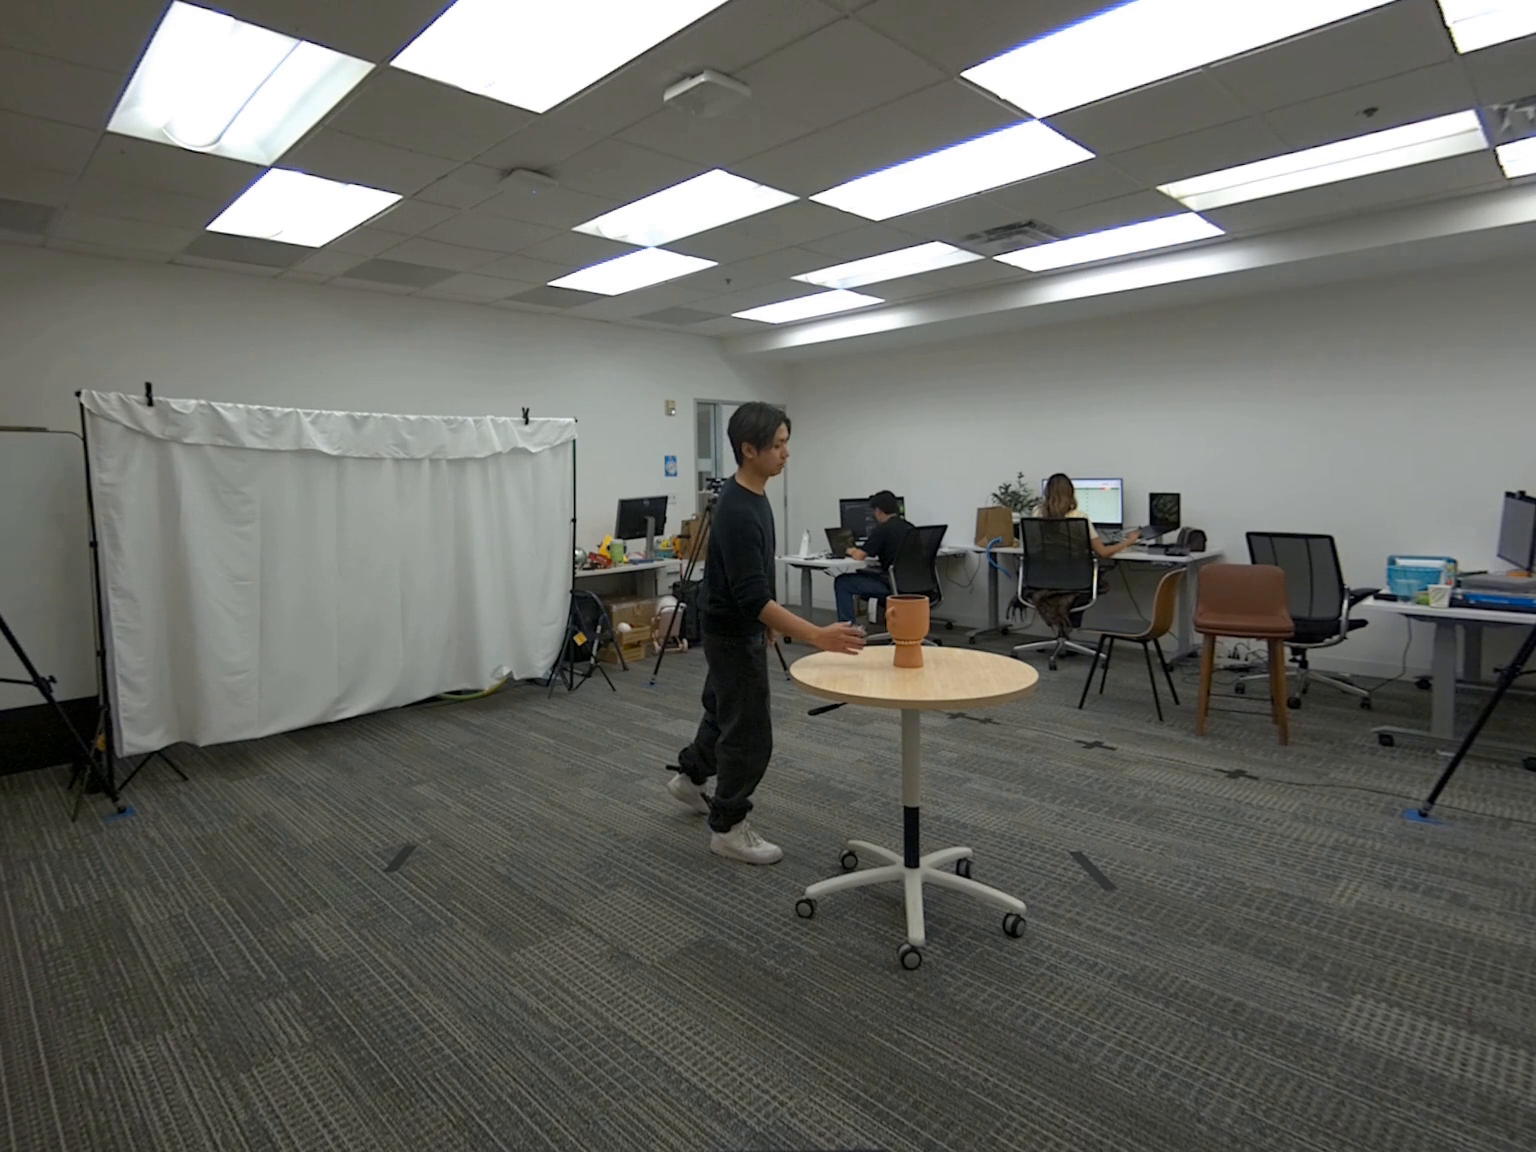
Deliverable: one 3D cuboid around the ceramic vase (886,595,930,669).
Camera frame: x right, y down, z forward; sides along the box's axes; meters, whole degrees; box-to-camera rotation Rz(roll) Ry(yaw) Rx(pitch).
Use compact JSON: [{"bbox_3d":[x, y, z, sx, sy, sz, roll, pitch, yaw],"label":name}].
[{"bbox_3d":[0.454,0.179,2.762,0.159,0.219,0.135,-2,4,1],"label":"ceramic vase"}]
